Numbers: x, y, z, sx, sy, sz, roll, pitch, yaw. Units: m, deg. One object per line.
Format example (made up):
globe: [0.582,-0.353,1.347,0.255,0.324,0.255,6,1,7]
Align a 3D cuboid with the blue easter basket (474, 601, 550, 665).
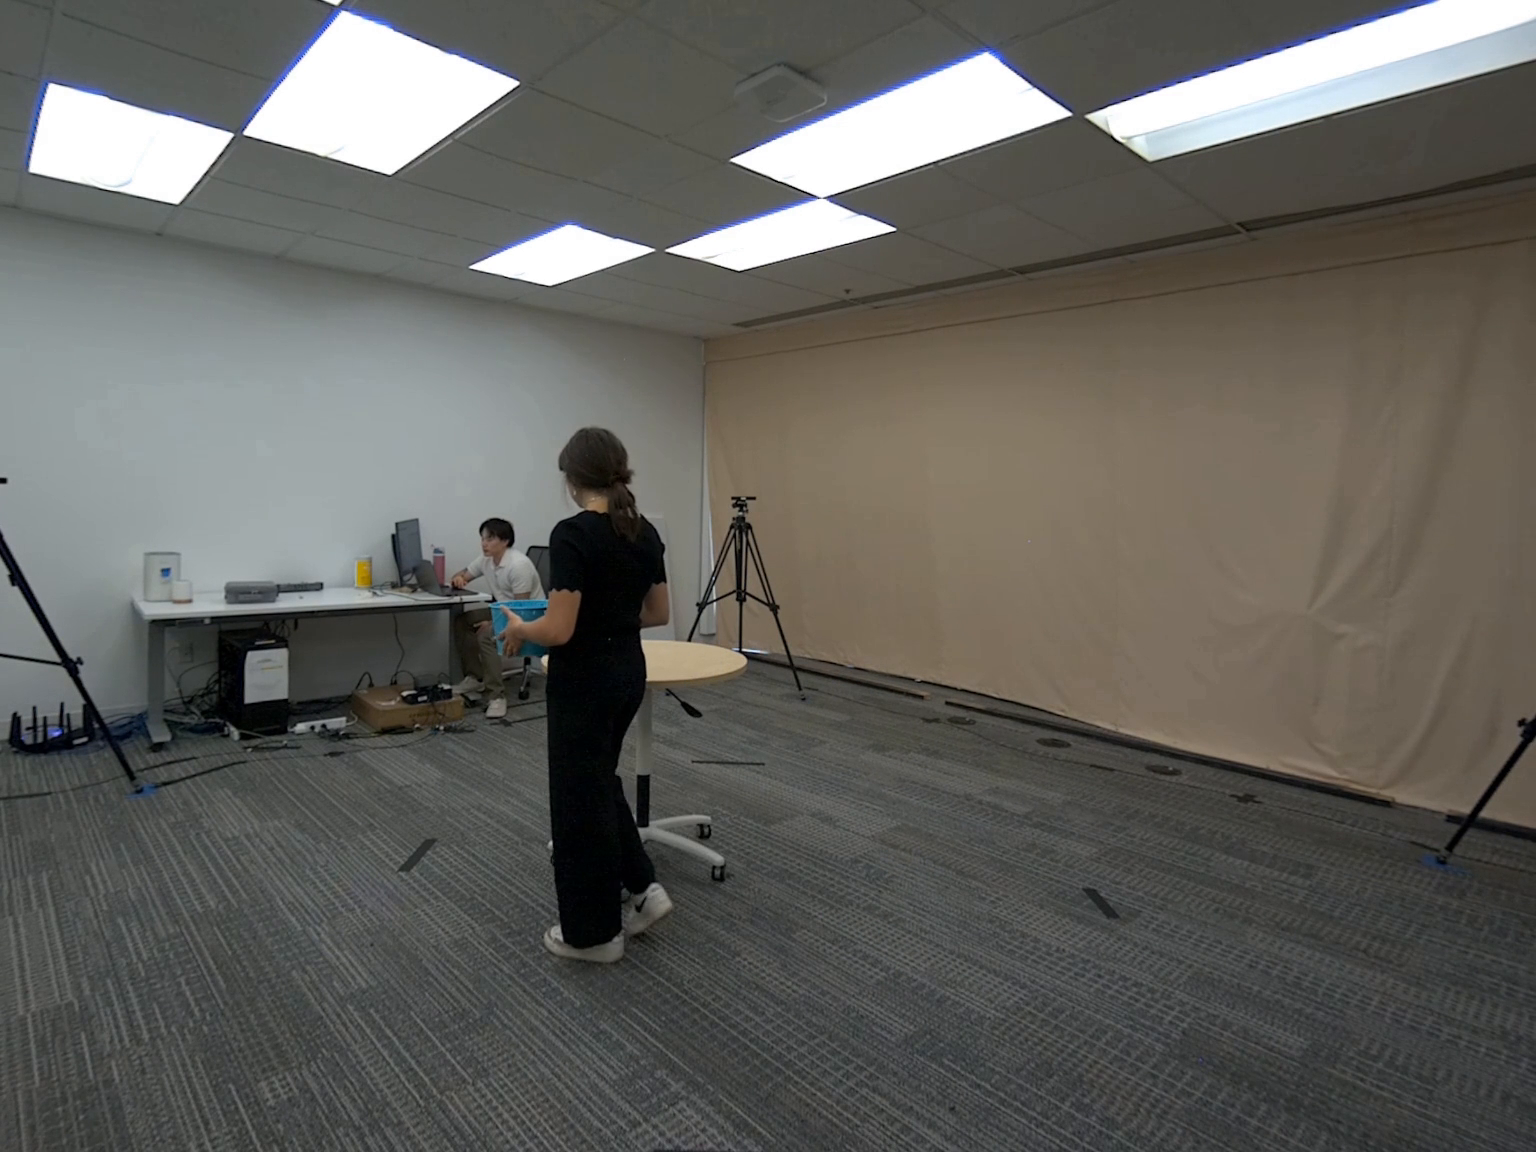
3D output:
blue easter basket: [-0.749,0.170,2.611,0.243,0.155,0.244,0,5,-1]
